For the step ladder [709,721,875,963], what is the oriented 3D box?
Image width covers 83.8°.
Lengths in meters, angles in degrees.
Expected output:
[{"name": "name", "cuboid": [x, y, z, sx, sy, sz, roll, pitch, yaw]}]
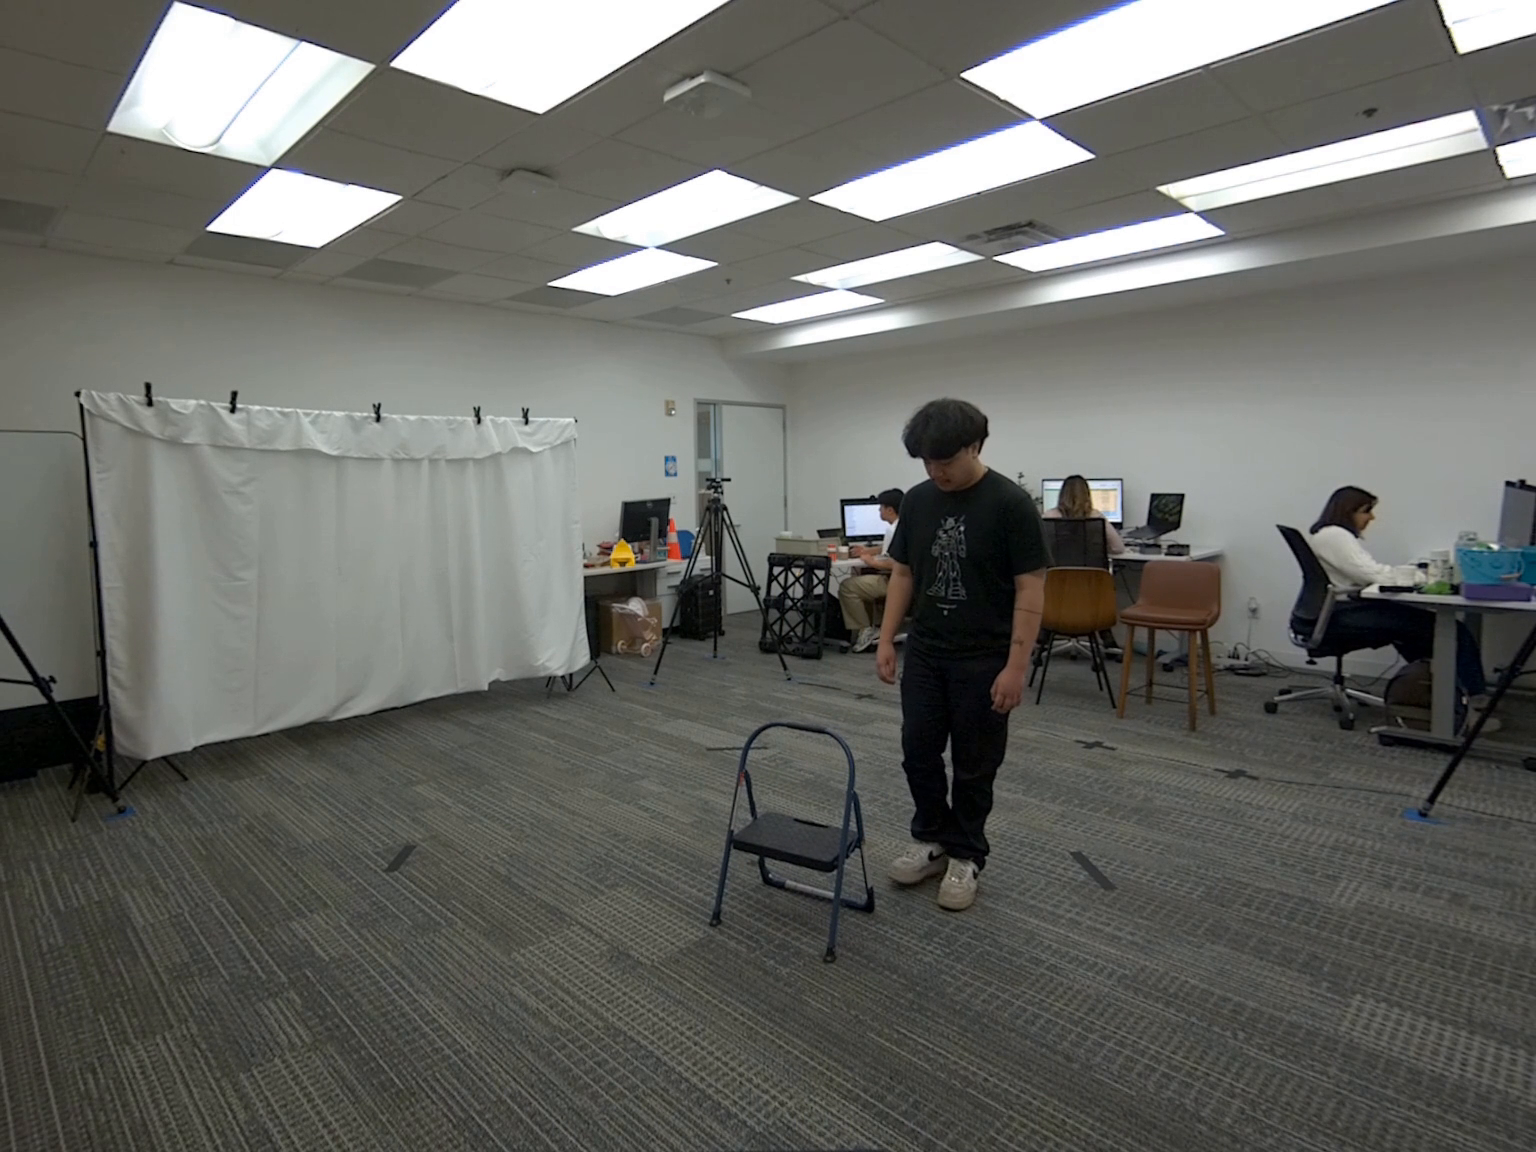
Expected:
[{"name": "step ladder", "cuboid": [0.079, 0.787, 2.688, 0.442, 0.603, 0.342, 1, 6, 30]}]
